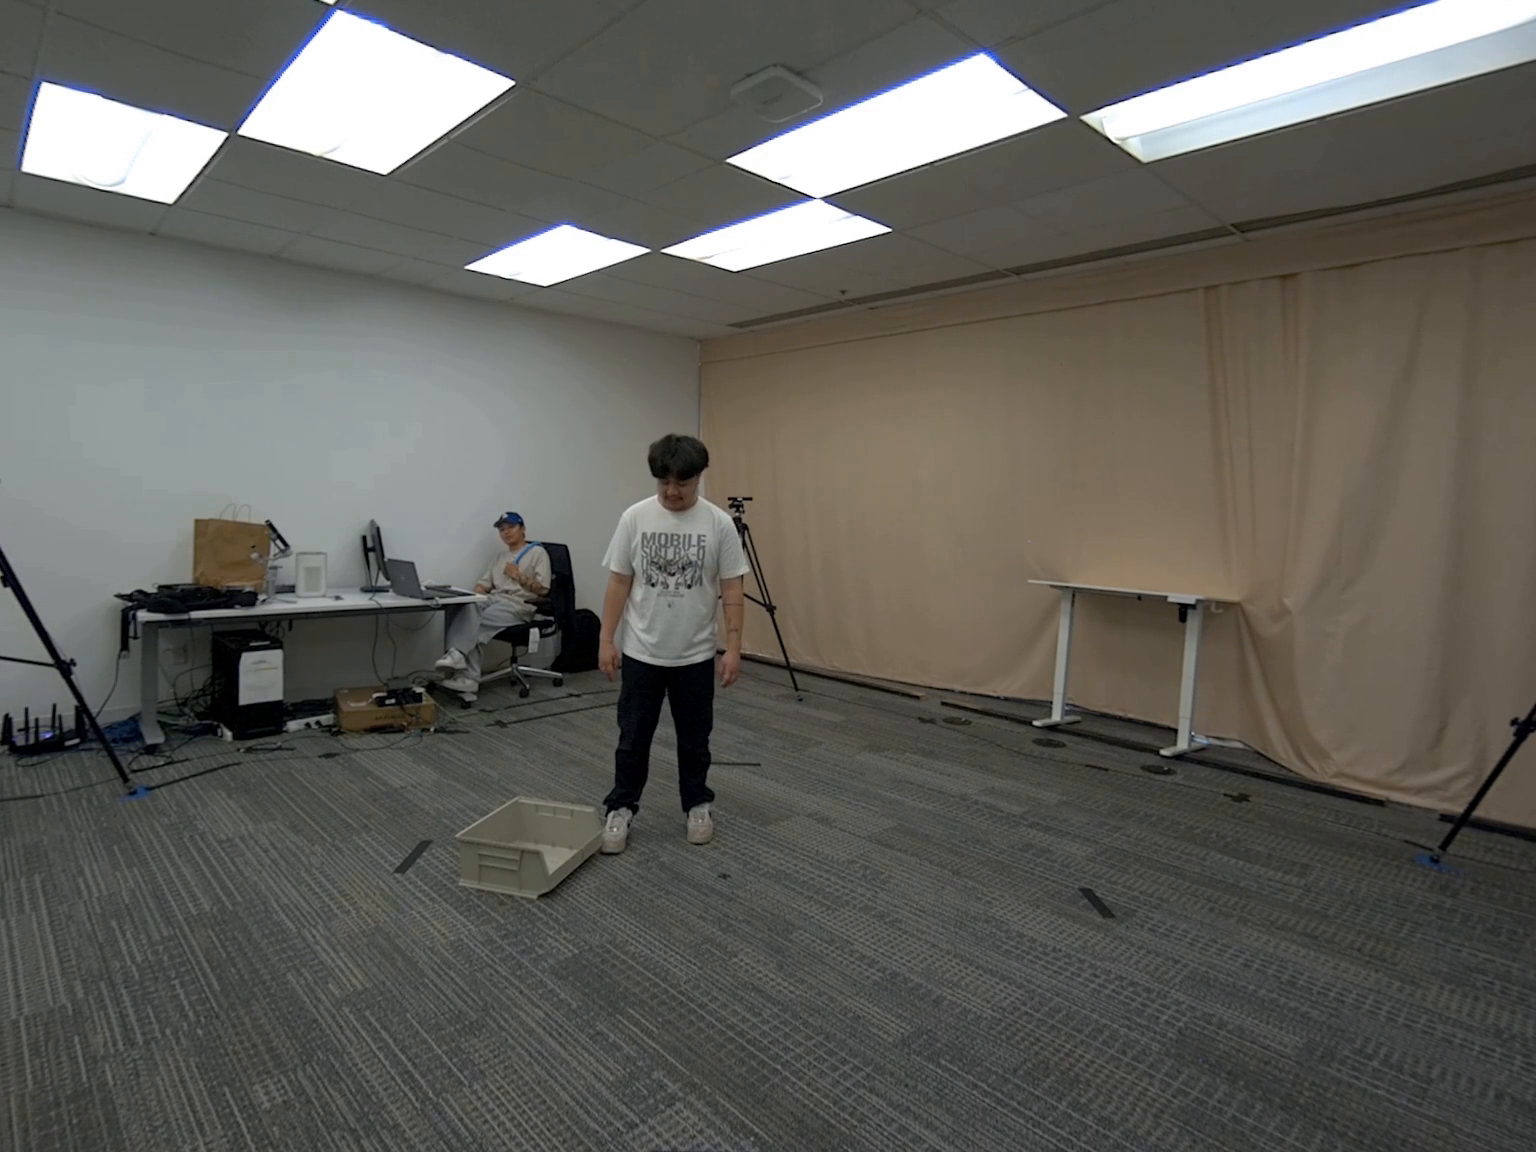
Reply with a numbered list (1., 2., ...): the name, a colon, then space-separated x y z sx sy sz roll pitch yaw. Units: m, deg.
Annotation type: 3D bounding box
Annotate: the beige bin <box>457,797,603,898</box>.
1. beige bin: -0.886 1.004 3.122 0.382 0.188 0.418 2 6 15
